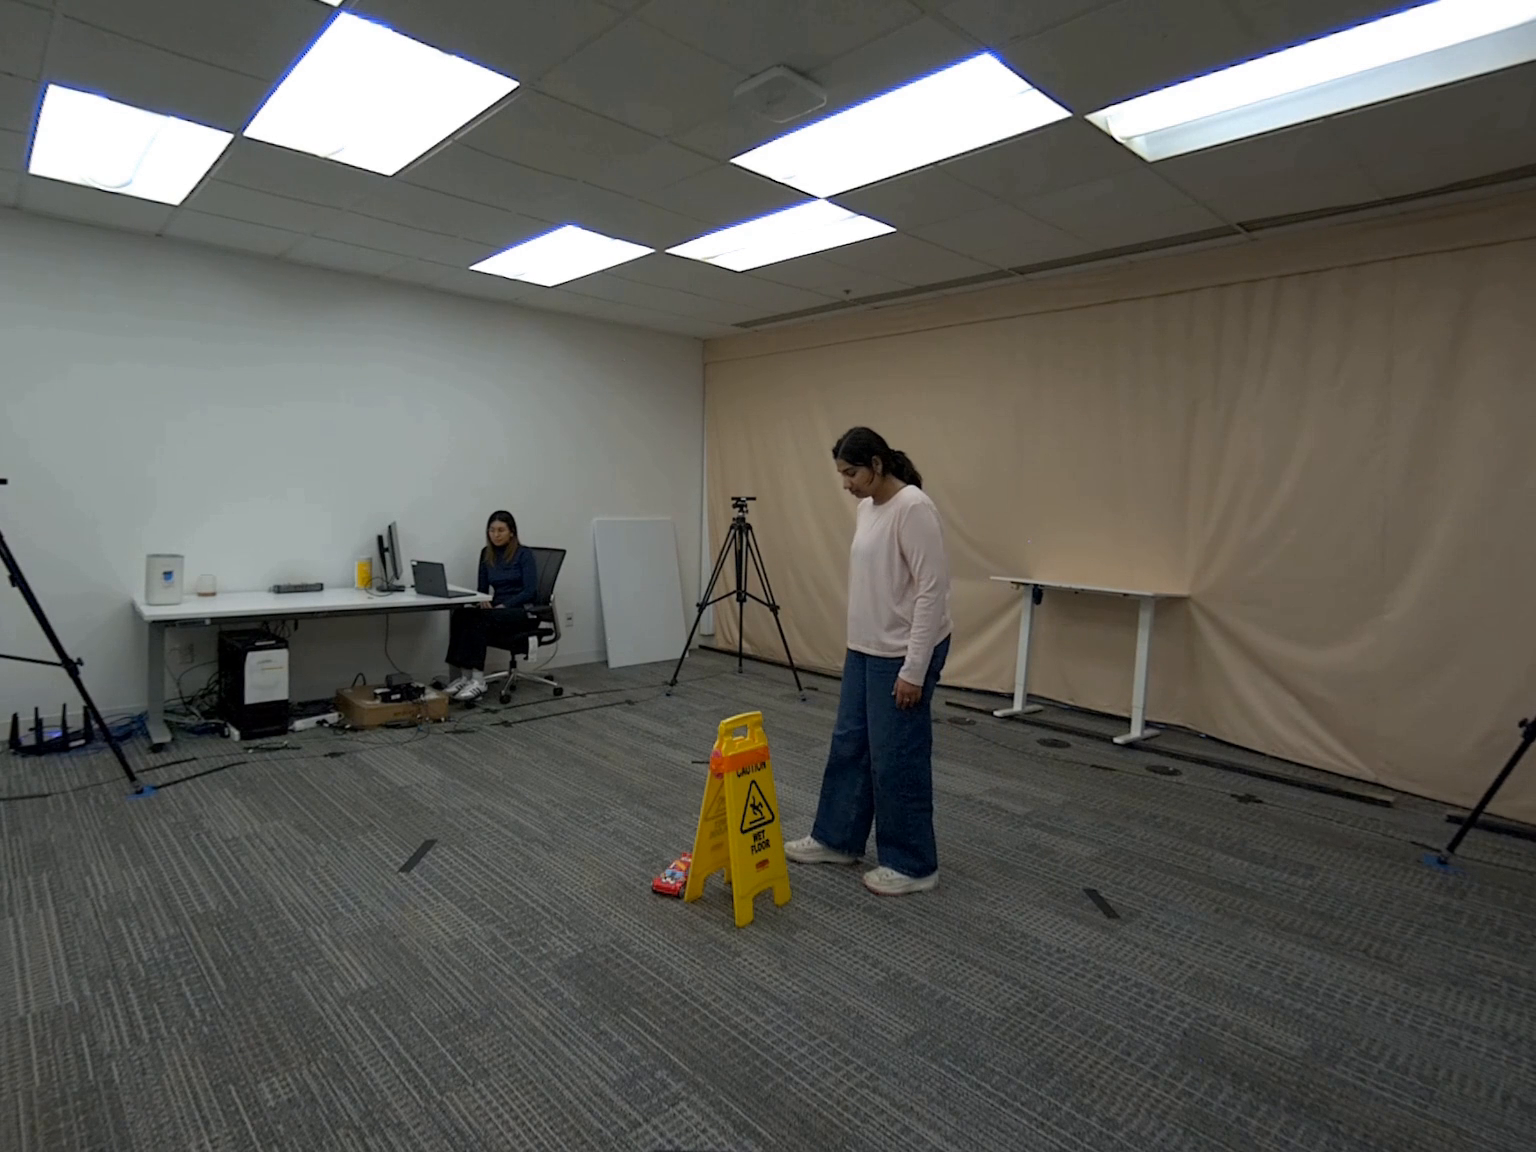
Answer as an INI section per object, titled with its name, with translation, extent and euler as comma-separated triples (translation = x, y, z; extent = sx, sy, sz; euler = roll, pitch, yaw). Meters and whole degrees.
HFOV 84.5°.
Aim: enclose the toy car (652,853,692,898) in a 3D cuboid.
[toy car]
translation = -0.318, 1.076, 3.034
extent = 0.132, 0.082, 0.253
euler = 0, 16, 22
